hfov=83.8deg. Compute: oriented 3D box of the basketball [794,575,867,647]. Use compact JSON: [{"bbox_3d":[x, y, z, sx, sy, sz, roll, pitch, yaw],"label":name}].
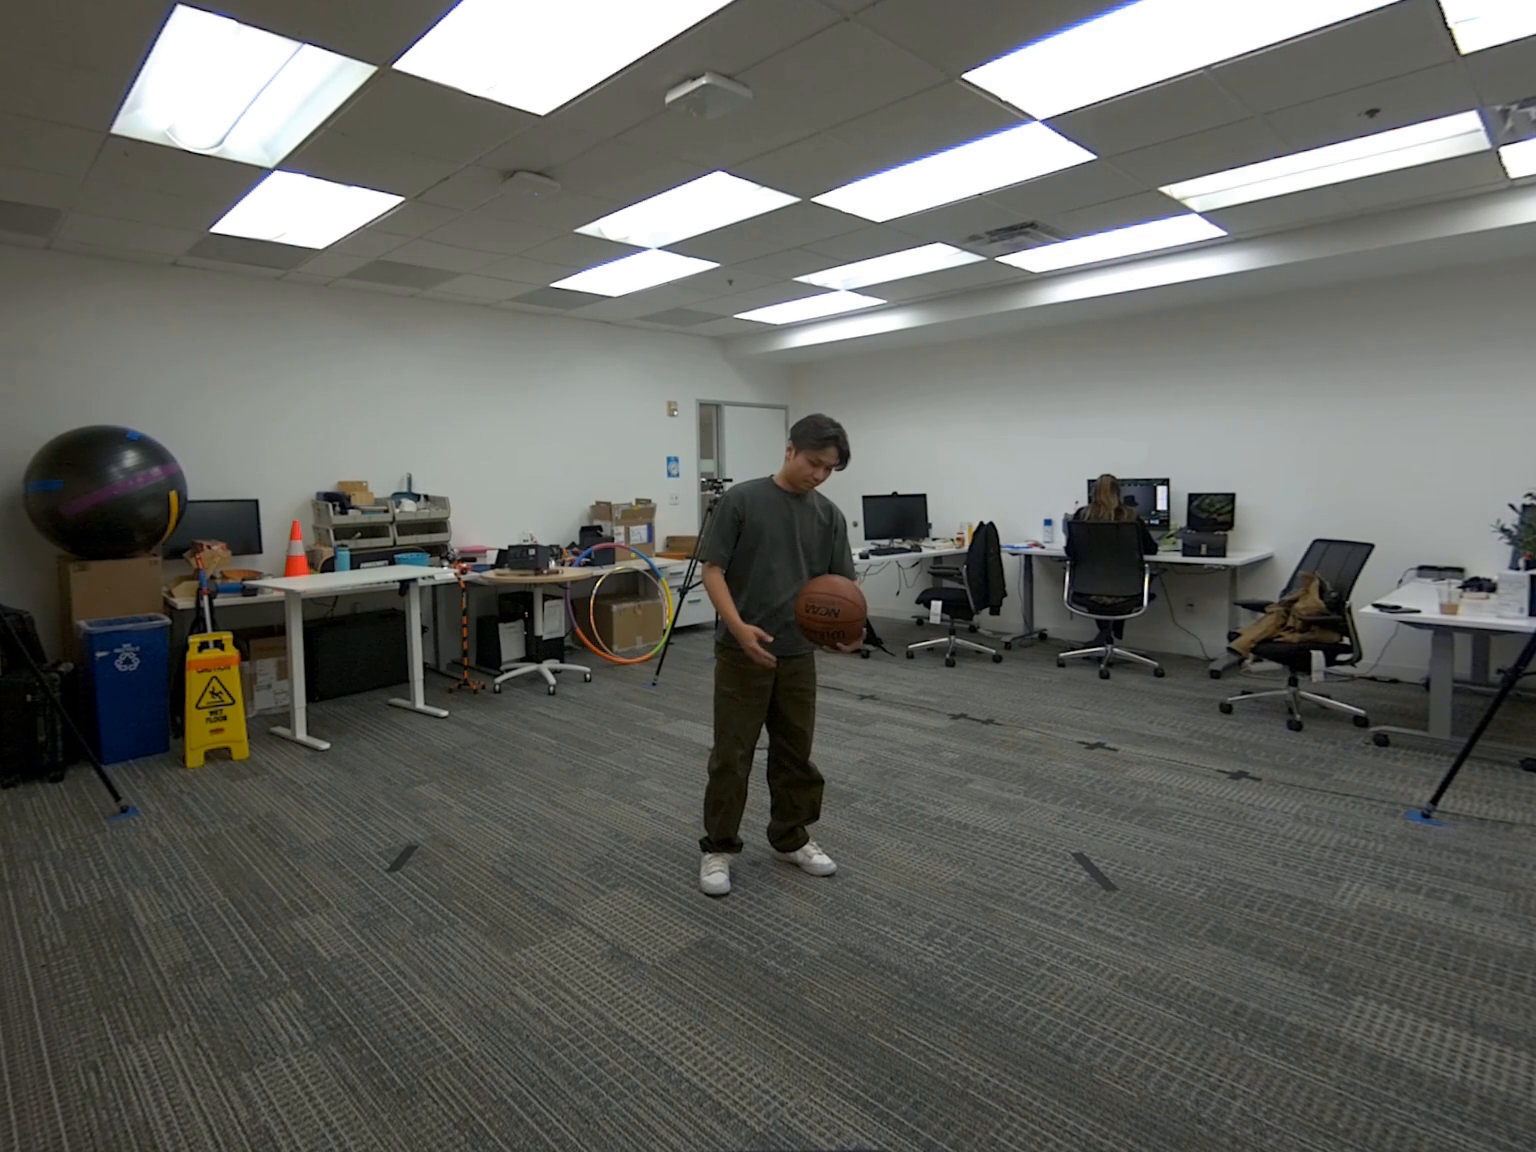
[{"bbox_3d":[0.208,0.115,2.816,0.236,0.235,0.237,-1,5,-2],"label":"basketball"}]
